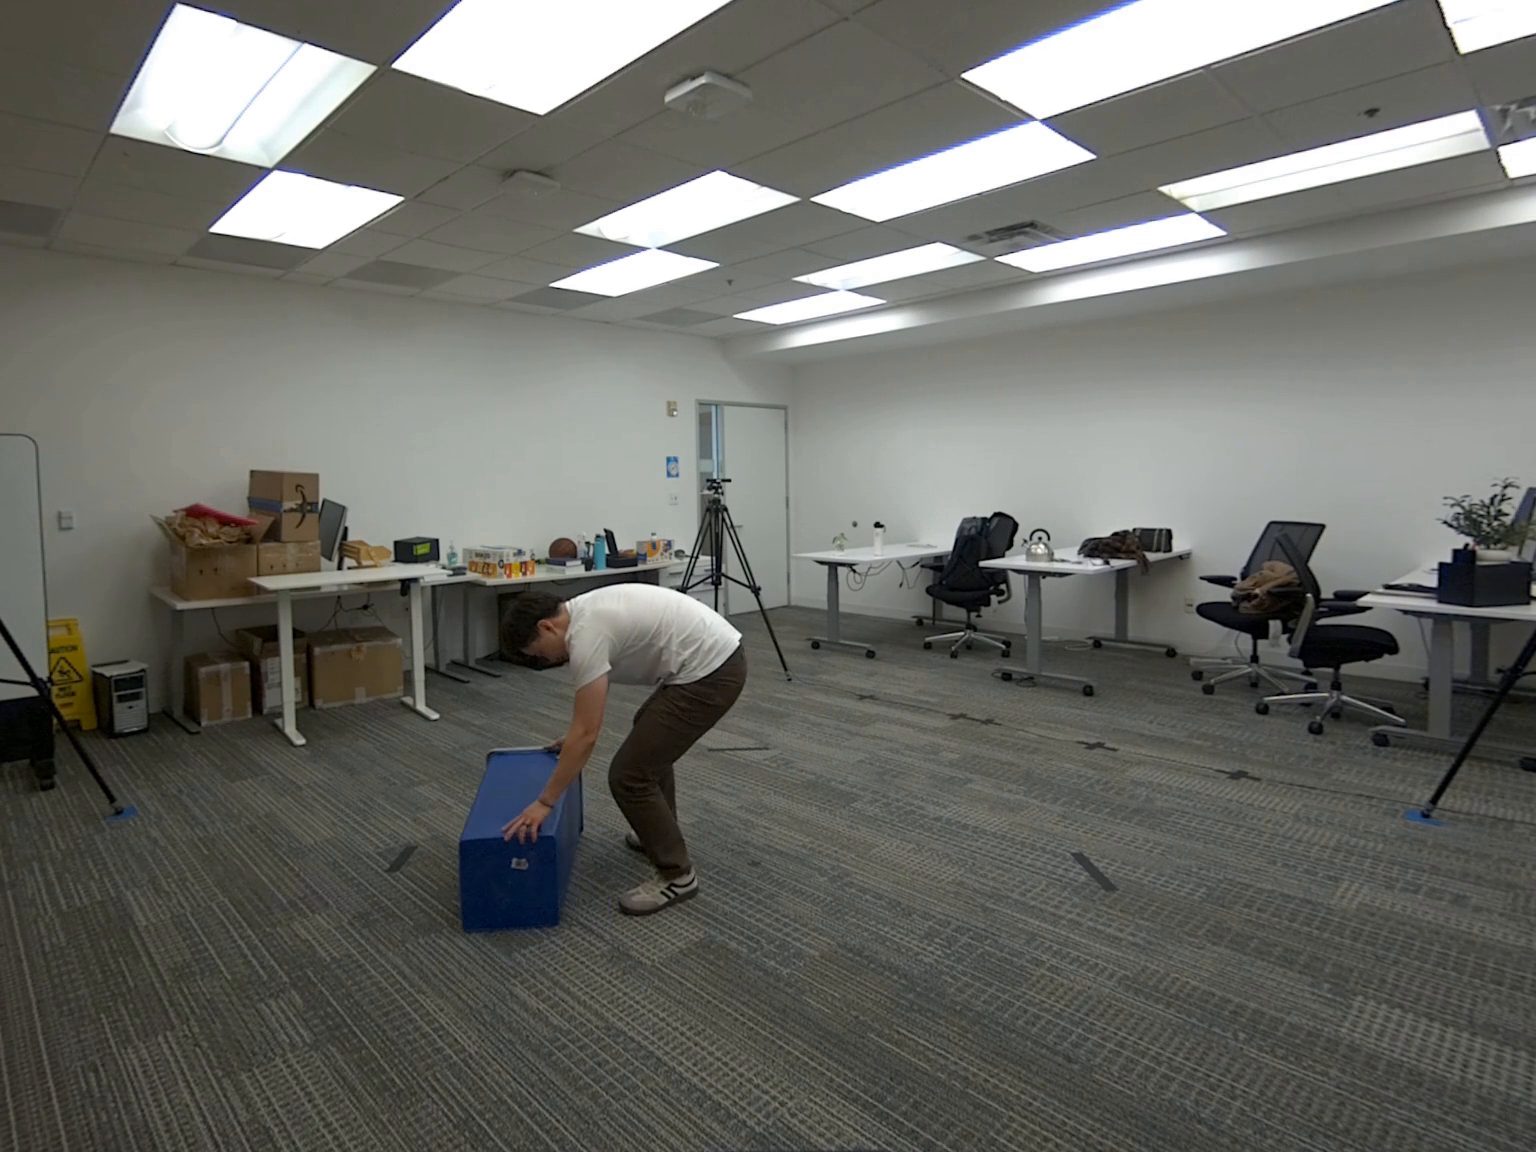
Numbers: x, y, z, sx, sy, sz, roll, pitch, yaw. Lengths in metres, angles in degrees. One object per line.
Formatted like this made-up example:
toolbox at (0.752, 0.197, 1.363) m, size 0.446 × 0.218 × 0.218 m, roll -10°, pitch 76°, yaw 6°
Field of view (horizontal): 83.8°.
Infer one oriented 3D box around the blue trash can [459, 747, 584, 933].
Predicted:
blue trash can at (-0.860, 0.895, 3.018) m, size 0.371 × 0.376 × 0.722 m, roll 1°, pitch 7°, yaw -8°
